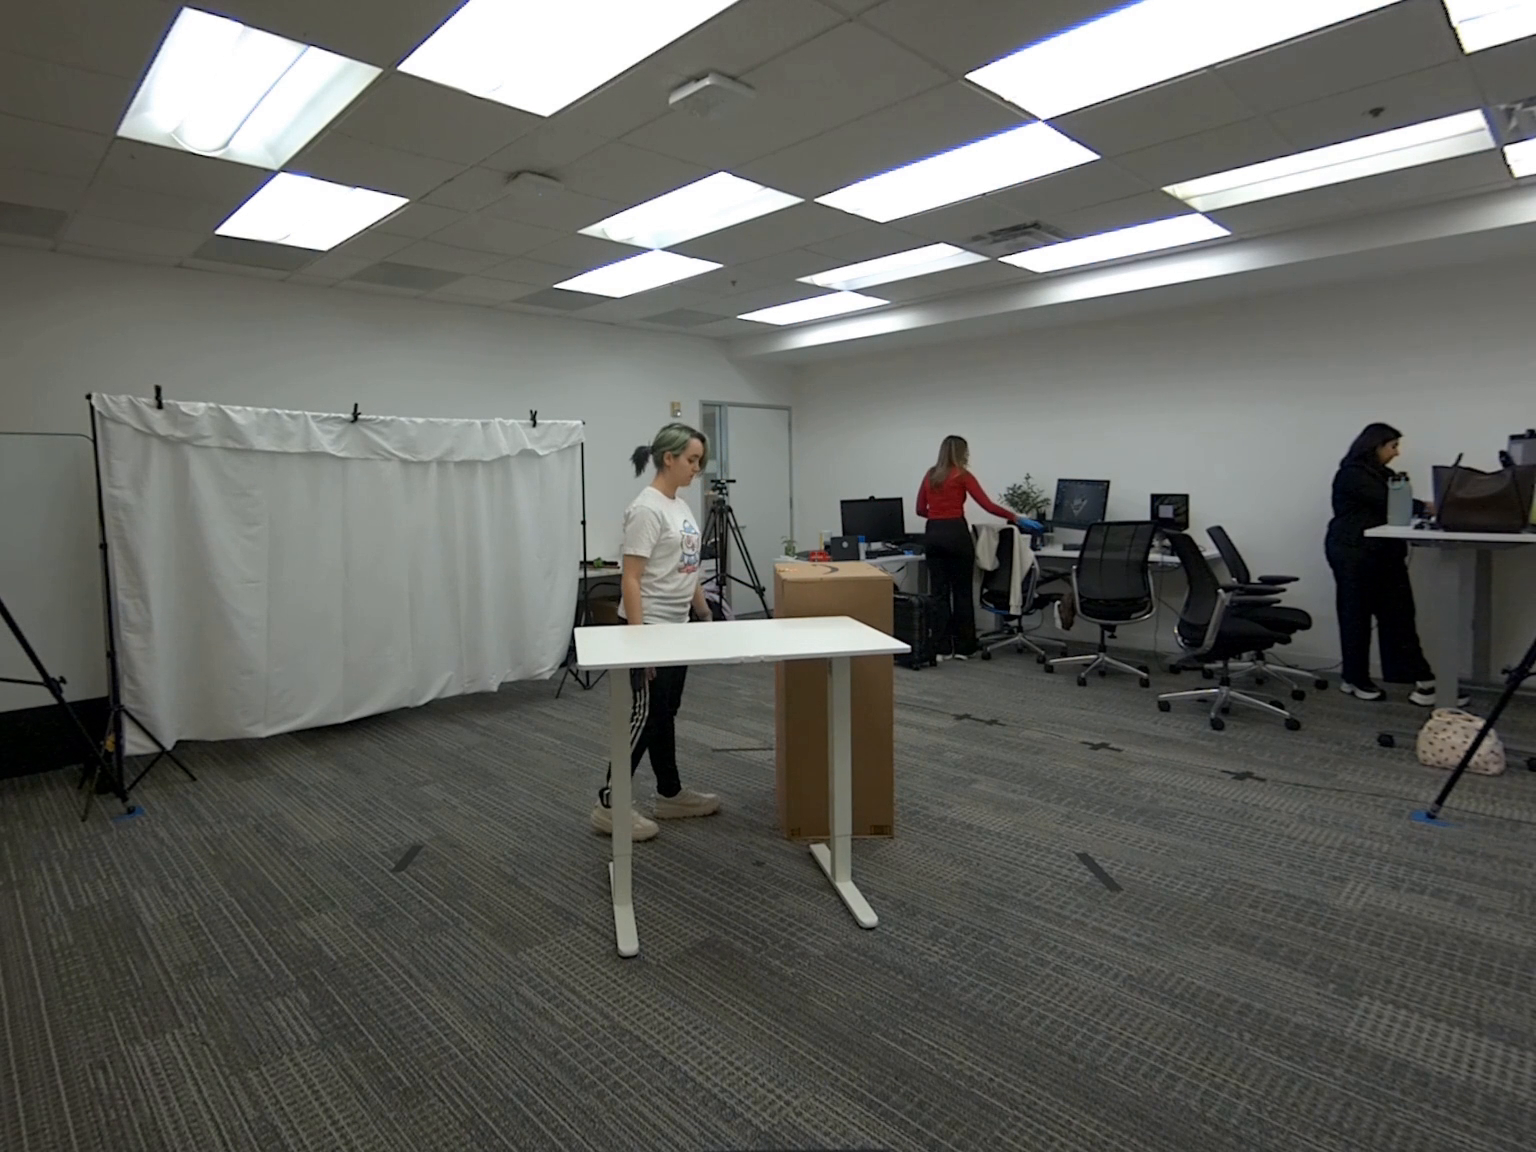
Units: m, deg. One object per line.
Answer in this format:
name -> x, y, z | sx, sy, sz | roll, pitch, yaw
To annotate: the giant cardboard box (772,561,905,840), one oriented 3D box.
giant cardboard box -> 0.259, 0.486, 3.559 | 0.446, 1.023, 0.587 | 0, 4, -2
